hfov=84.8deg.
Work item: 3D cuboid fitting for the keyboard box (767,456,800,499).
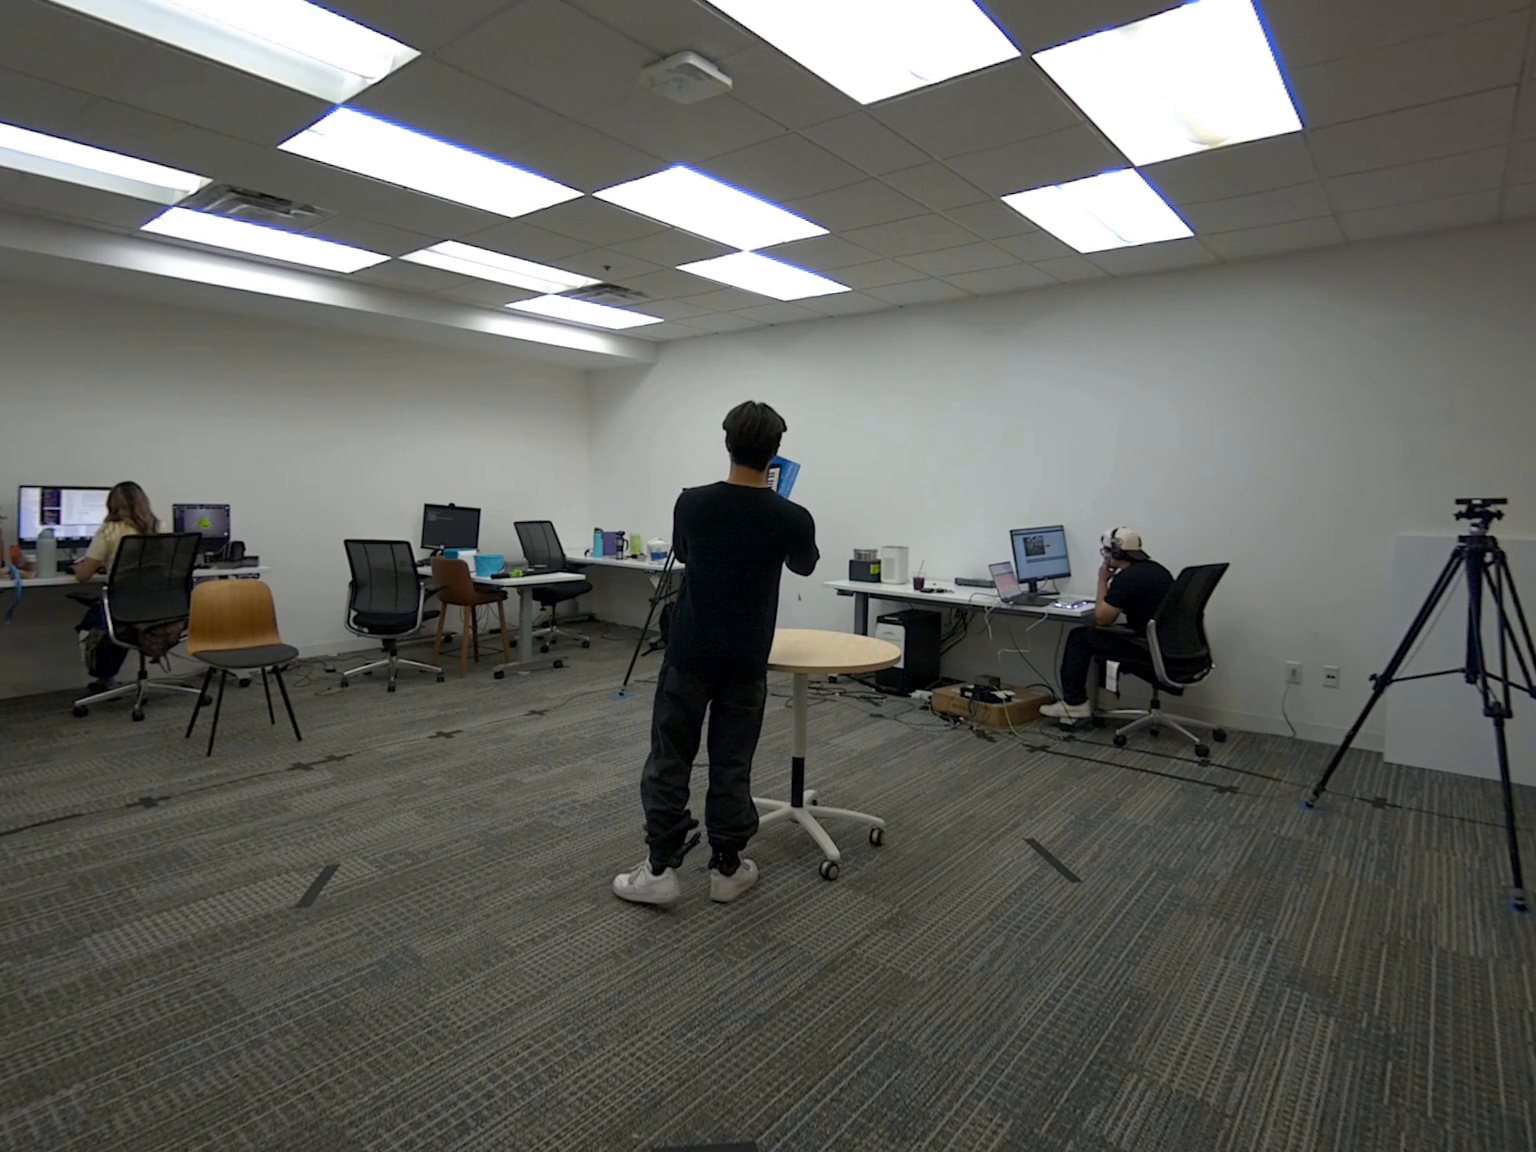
[{"bbox_3d":[-0.035,-0.270,3.376,0.175,0.438,0.059,22,-7,-2],"label":"keyboard box"}]
